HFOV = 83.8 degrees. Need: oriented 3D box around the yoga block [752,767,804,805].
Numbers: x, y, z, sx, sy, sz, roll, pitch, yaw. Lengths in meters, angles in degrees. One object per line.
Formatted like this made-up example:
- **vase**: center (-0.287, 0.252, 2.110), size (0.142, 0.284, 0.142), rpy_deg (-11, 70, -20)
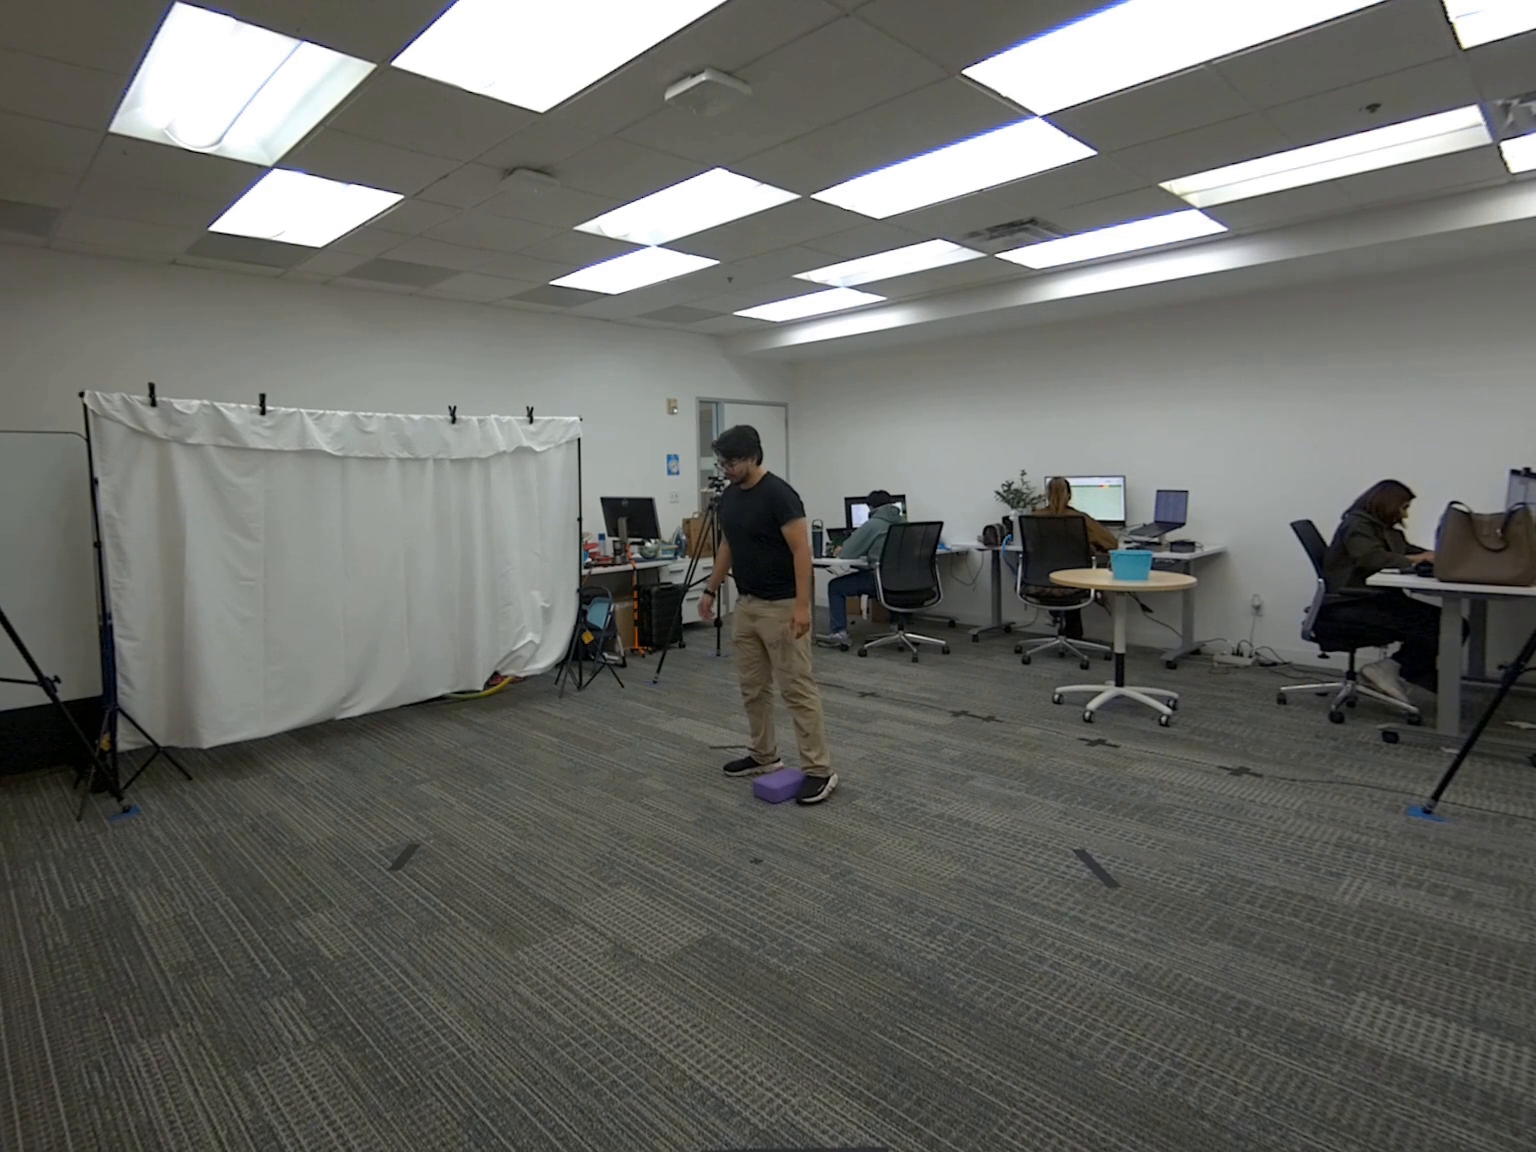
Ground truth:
- **yoga block**: center (0.062, 0.916, 3.757), size (0.223, 0.076, 0.154), rpy_deg (-7, 10, -44)
